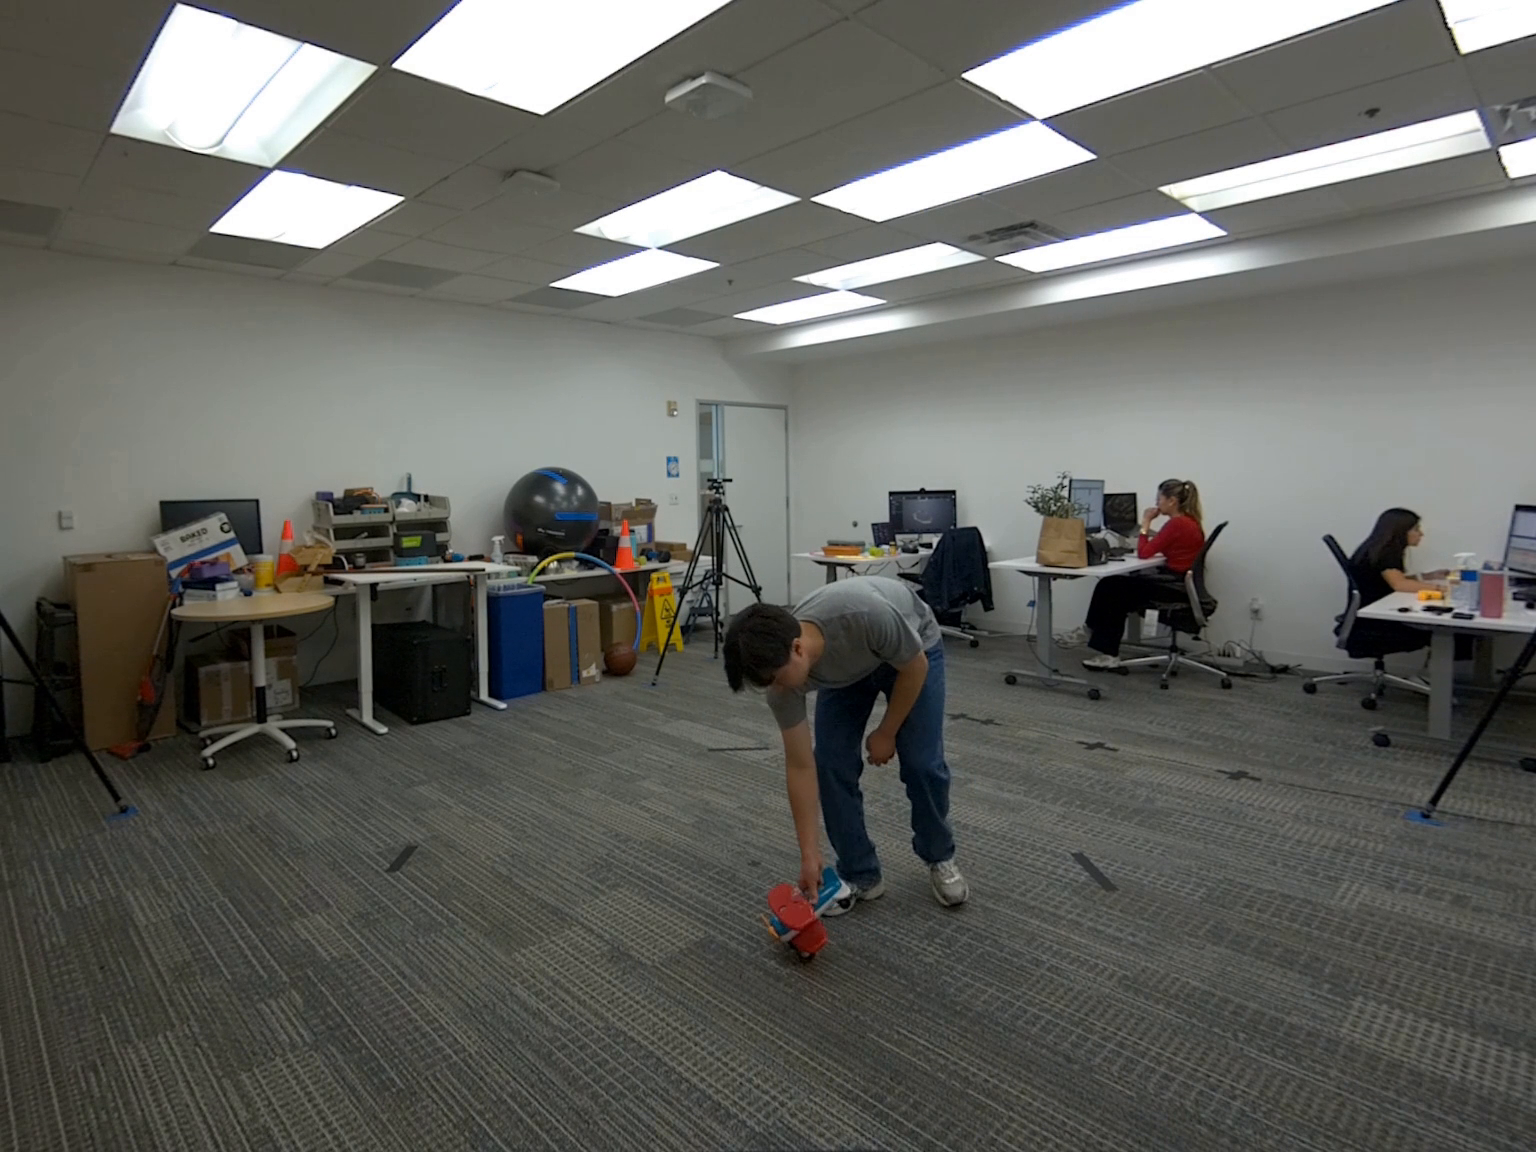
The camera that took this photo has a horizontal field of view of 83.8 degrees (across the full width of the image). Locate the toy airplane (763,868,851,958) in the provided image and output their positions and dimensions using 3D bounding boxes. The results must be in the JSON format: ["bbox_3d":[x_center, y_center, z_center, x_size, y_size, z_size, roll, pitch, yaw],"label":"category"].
[{"bbox_3d":[0.123,0.998,2.530,0.255,0.153,0.260,-24,23,48],"label":"toy airplane"}]
